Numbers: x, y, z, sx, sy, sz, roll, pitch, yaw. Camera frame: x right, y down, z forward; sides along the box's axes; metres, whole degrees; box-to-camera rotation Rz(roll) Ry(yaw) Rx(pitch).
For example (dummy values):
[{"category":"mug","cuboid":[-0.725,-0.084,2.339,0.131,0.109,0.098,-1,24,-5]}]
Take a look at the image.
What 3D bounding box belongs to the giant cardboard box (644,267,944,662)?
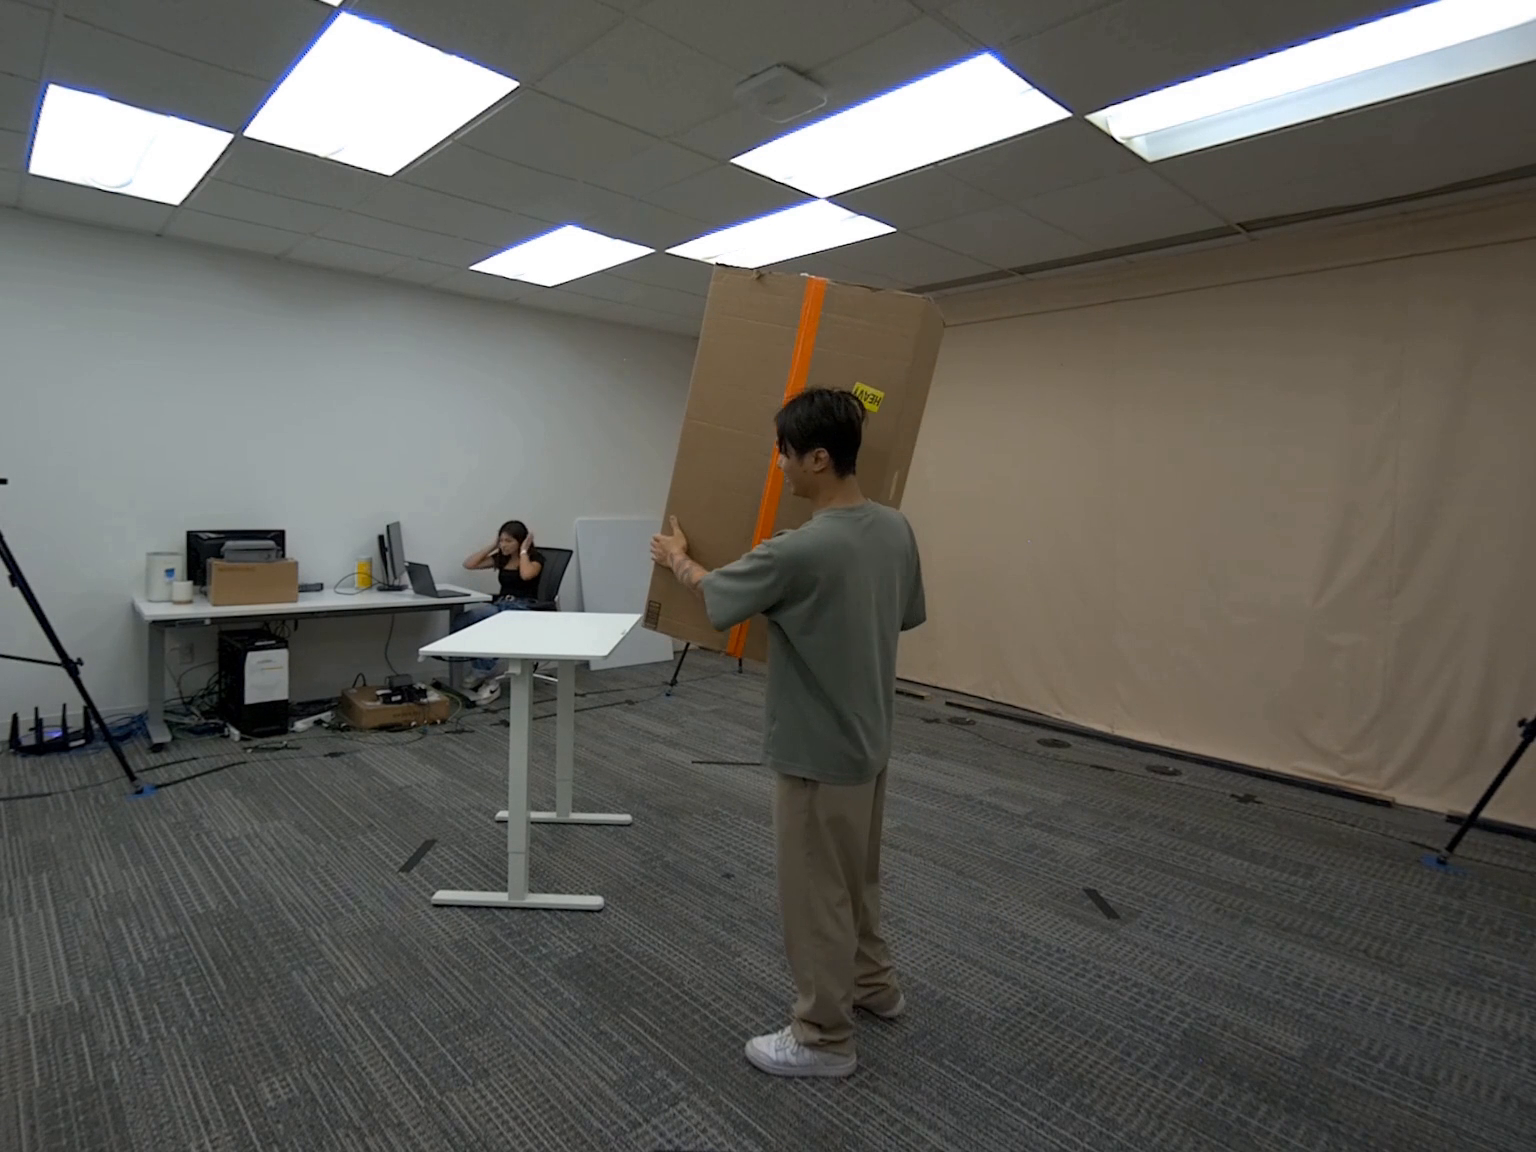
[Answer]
[{"category":"giant cardboard box","cuboid":[0.071,-0.288,2.404,0.587,1.020,0.421,15,10,17]}]
